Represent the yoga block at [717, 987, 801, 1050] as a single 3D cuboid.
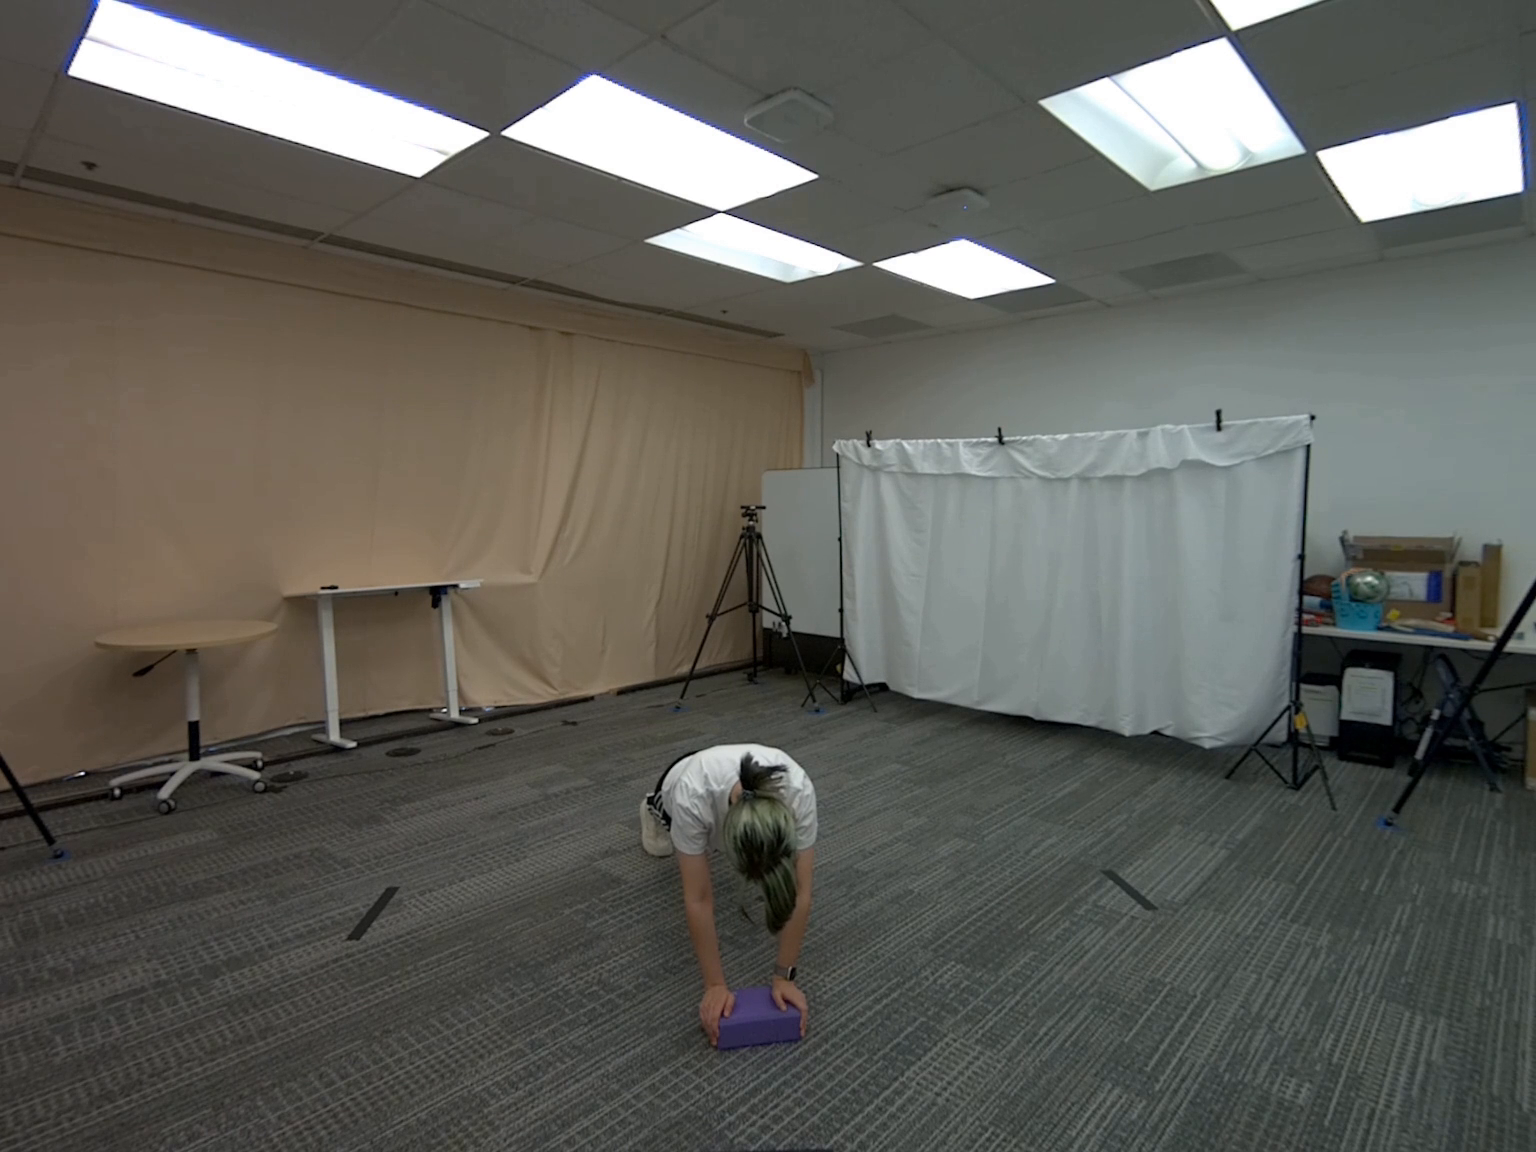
[{"bbox_3d":[-0.039,1.168,2.243,0.227,0.076,0.151,0,4,-10],"label":"yoga block"}]
